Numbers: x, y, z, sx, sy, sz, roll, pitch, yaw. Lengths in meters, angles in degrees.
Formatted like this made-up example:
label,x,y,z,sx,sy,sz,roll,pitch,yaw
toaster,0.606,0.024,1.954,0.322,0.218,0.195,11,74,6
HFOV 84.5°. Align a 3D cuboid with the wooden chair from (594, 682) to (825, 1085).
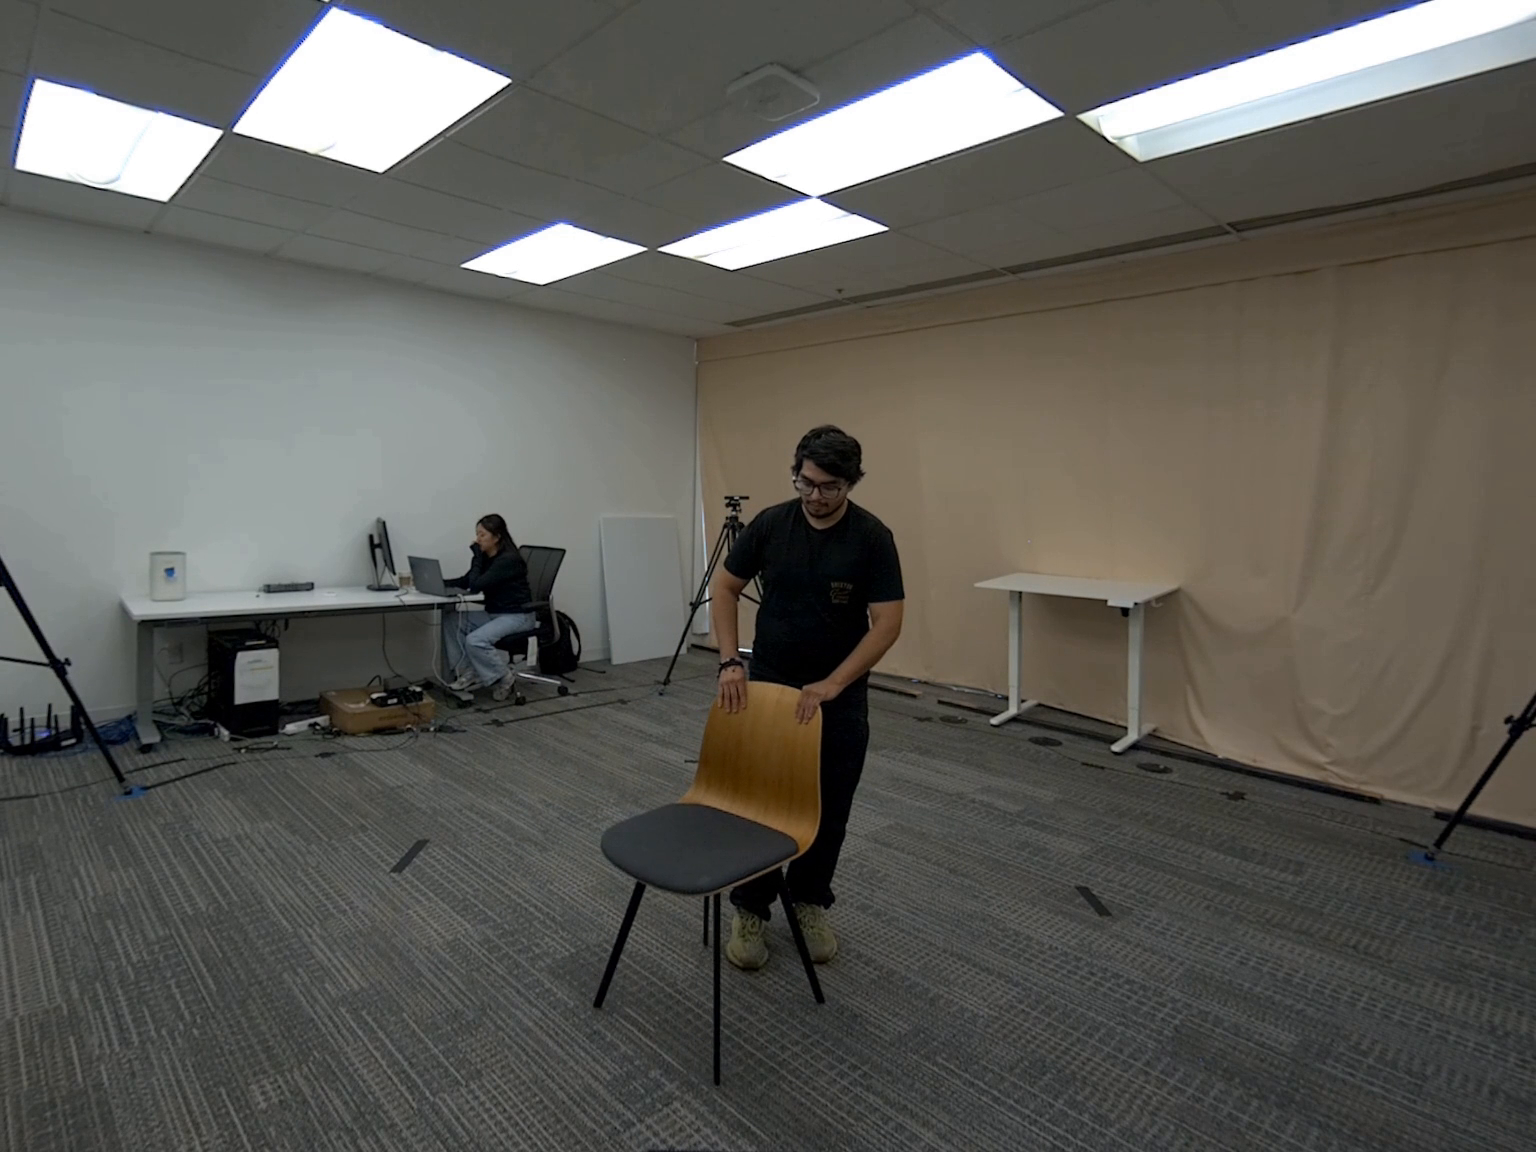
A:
label,x,y,z,sx,sy,sz,roll,pitch,yaw
wooden chair,-0.154,0.753,2.263,0.490,0.877,0.510,5,0,39
